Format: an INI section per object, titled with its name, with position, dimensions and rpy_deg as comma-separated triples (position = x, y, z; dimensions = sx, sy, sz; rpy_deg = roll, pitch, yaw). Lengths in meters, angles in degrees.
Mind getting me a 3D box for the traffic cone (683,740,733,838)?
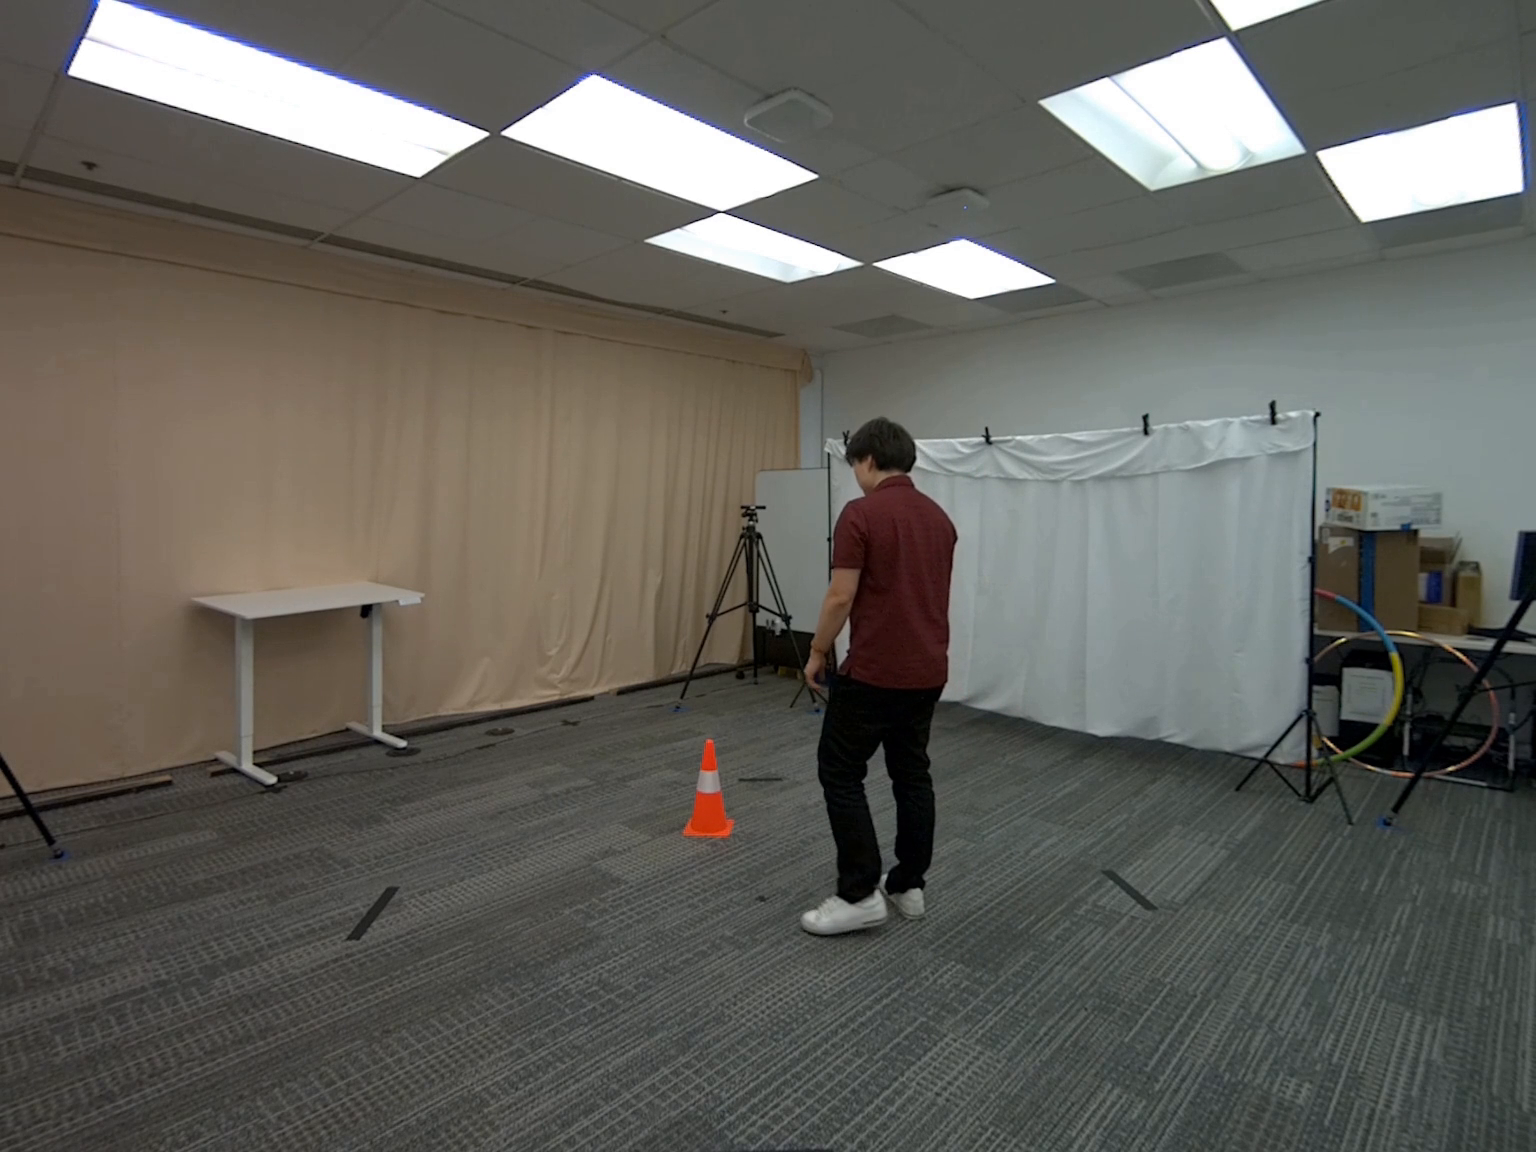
[traffic cone]
position = -0.263, 0.904, 3.652
dimensions = 0.207, 0.383, 0.201
rpy_deg = 0, 3, 11
